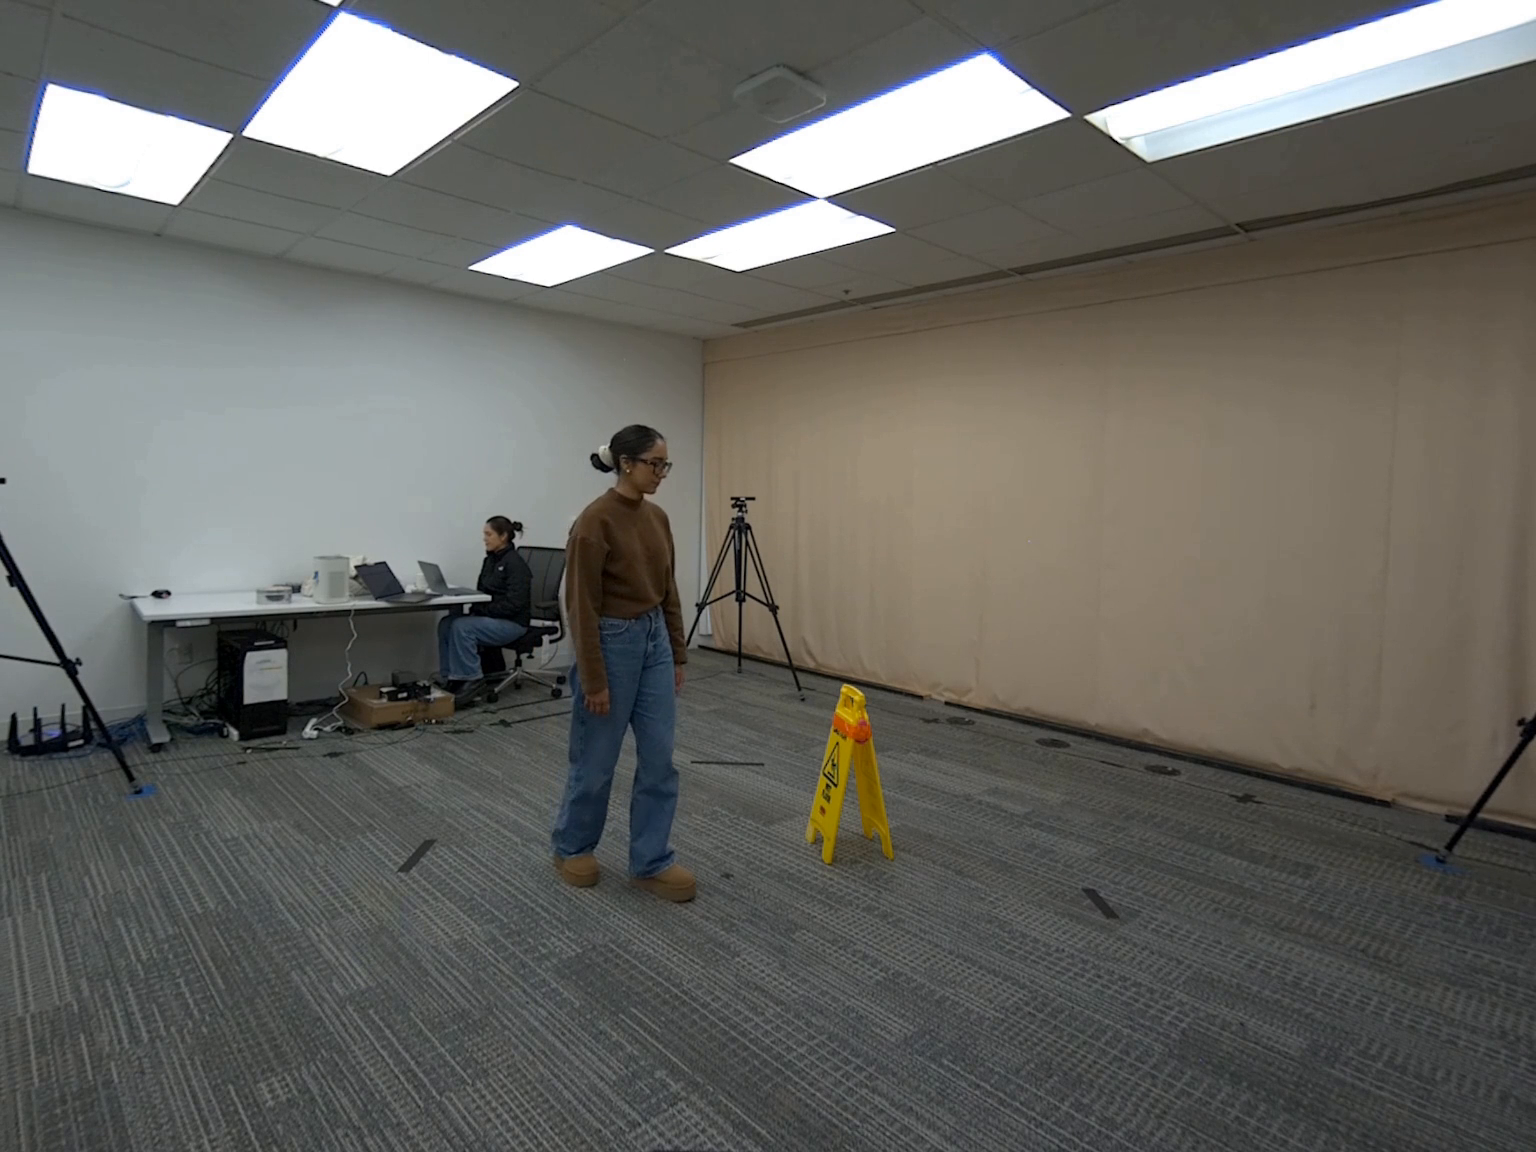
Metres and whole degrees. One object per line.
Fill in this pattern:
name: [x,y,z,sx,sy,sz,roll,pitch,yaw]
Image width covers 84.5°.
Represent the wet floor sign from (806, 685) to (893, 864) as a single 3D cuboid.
wet floor sign: [0.325,0.770,3.361,0.286,0.644,0.286,1,4,-14]
